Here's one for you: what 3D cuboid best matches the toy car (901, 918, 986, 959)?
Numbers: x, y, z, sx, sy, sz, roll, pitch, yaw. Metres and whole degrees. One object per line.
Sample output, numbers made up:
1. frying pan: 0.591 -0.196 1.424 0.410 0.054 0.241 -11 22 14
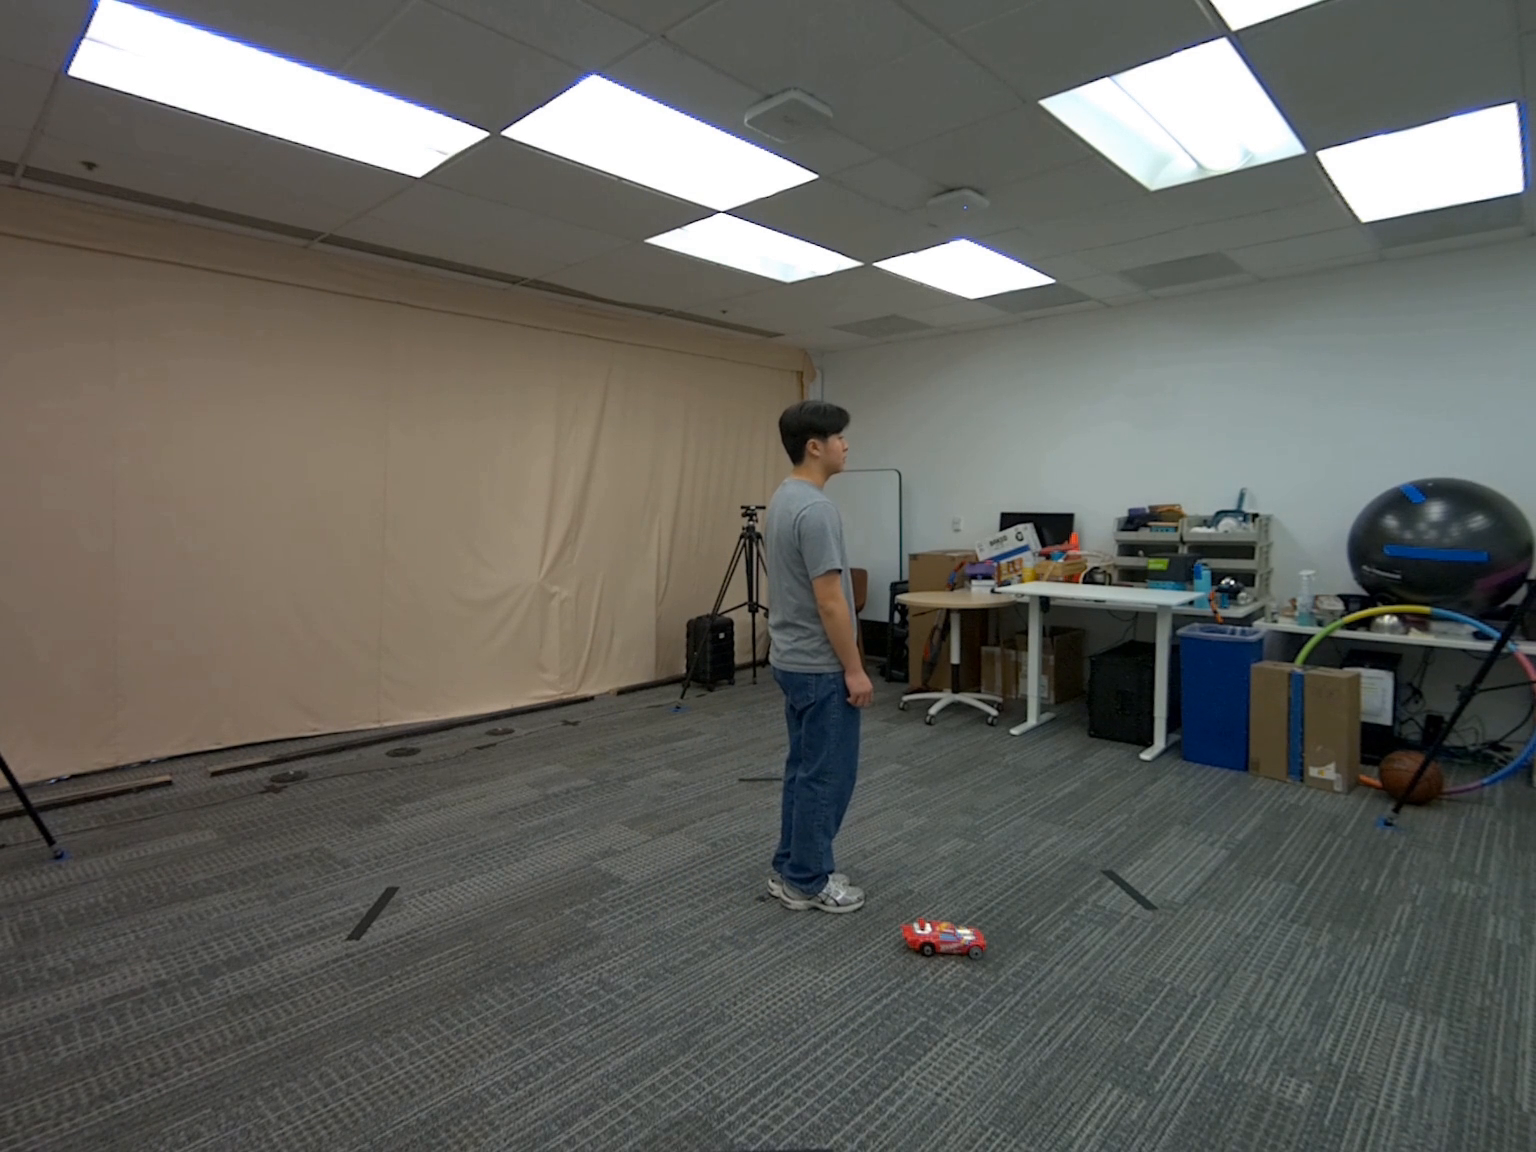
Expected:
1. toy car: 0.555 1.142 2.635 0.255 0.083 0.130 11 5 3
